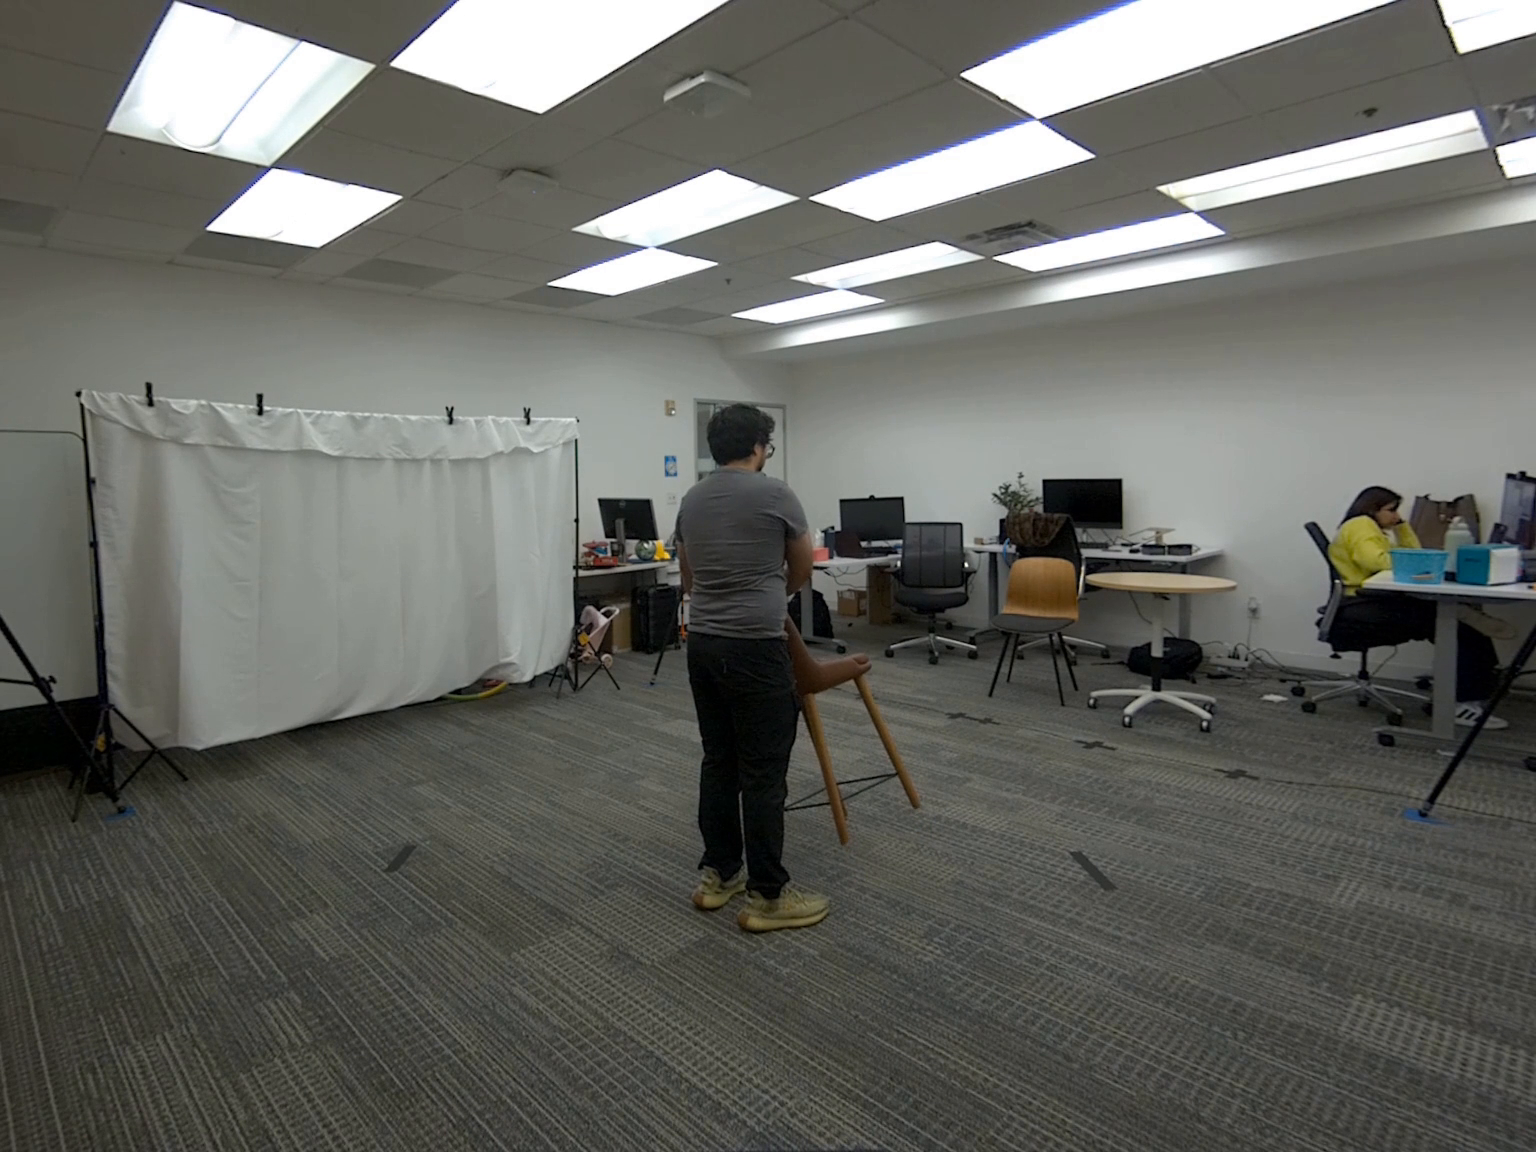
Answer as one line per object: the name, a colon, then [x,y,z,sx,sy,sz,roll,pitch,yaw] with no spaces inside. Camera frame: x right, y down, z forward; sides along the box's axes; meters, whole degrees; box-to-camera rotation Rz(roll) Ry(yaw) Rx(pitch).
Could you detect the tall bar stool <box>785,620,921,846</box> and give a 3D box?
tall bar stool: [0.167,0.547,3.298,0.456,0.899,0.463,-9,-12,-45]
